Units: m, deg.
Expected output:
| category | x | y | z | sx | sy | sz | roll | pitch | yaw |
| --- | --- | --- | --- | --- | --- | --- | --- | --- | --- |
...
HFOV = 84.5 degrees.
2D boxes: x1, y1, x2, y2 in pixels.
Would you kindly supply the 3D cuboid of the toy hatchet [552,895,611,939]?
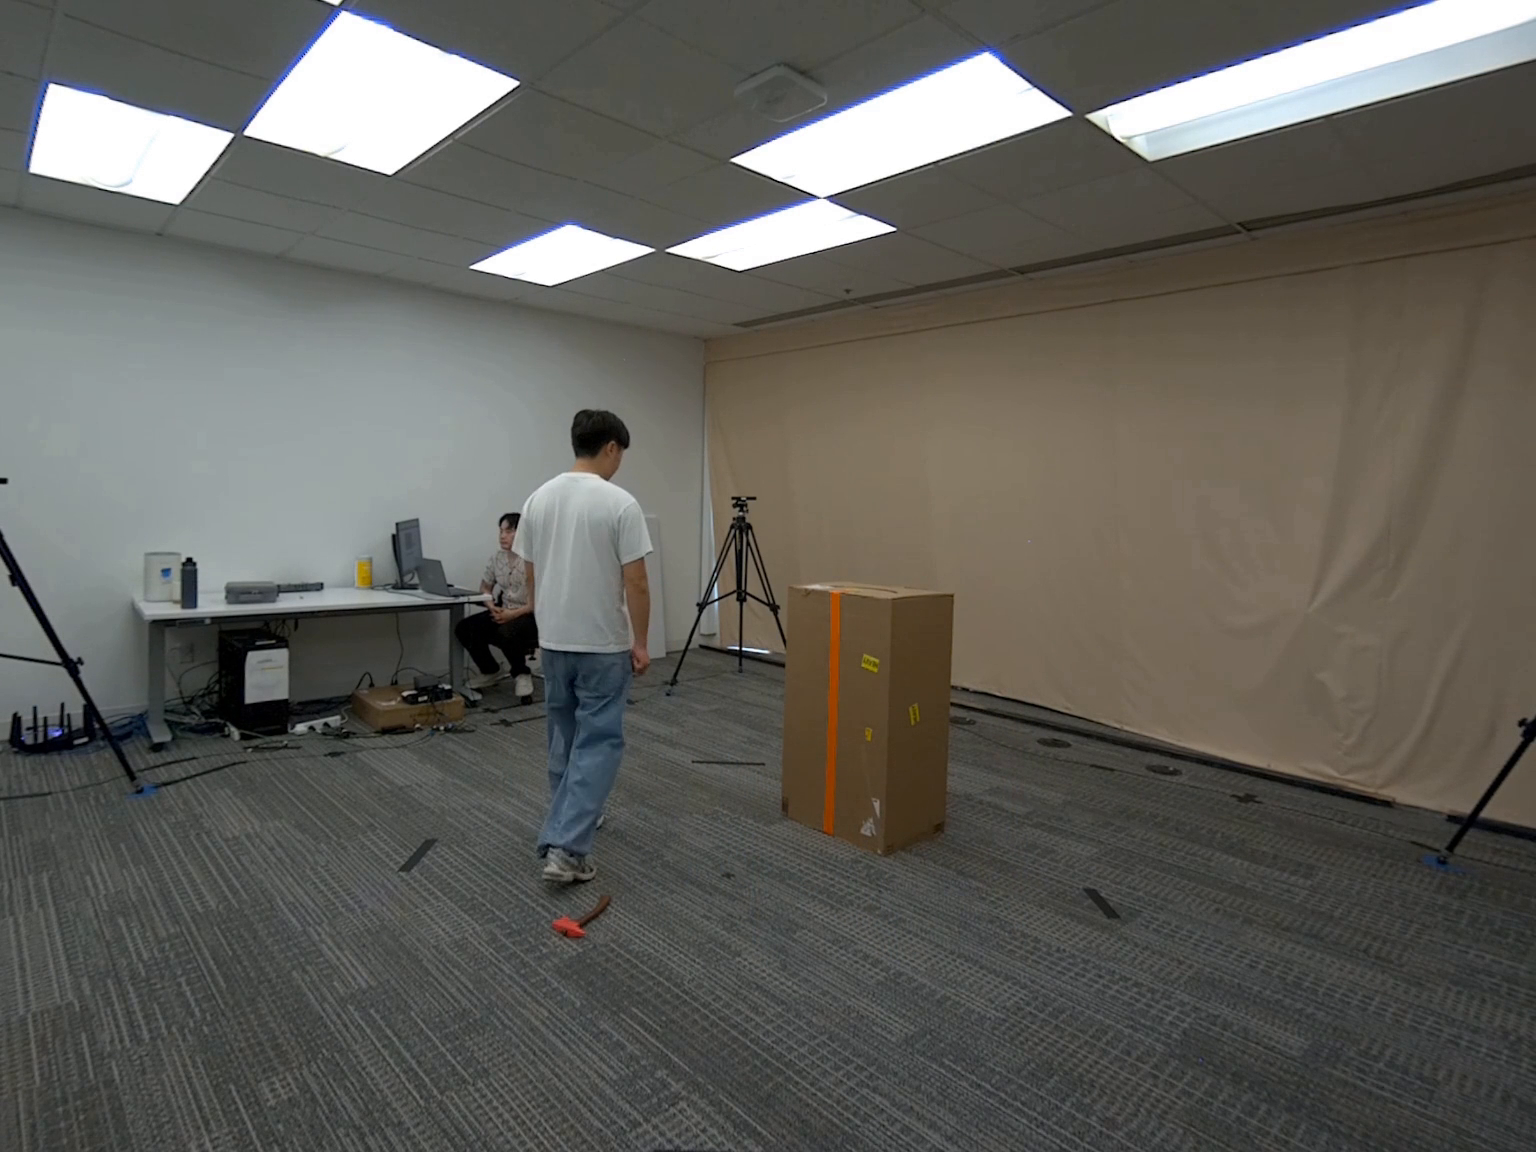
| category | x | y | z | sx | sy | sz | roll | pitch | yaw |
| --- | --- | --- | --- | --- | --- | --- | --- | --- | --- |
| toy hatchet | -0.626 | 1.117 | 2.770 | 0.132 | 0.029 | 0.268 | 1 | 3 | 8 |
